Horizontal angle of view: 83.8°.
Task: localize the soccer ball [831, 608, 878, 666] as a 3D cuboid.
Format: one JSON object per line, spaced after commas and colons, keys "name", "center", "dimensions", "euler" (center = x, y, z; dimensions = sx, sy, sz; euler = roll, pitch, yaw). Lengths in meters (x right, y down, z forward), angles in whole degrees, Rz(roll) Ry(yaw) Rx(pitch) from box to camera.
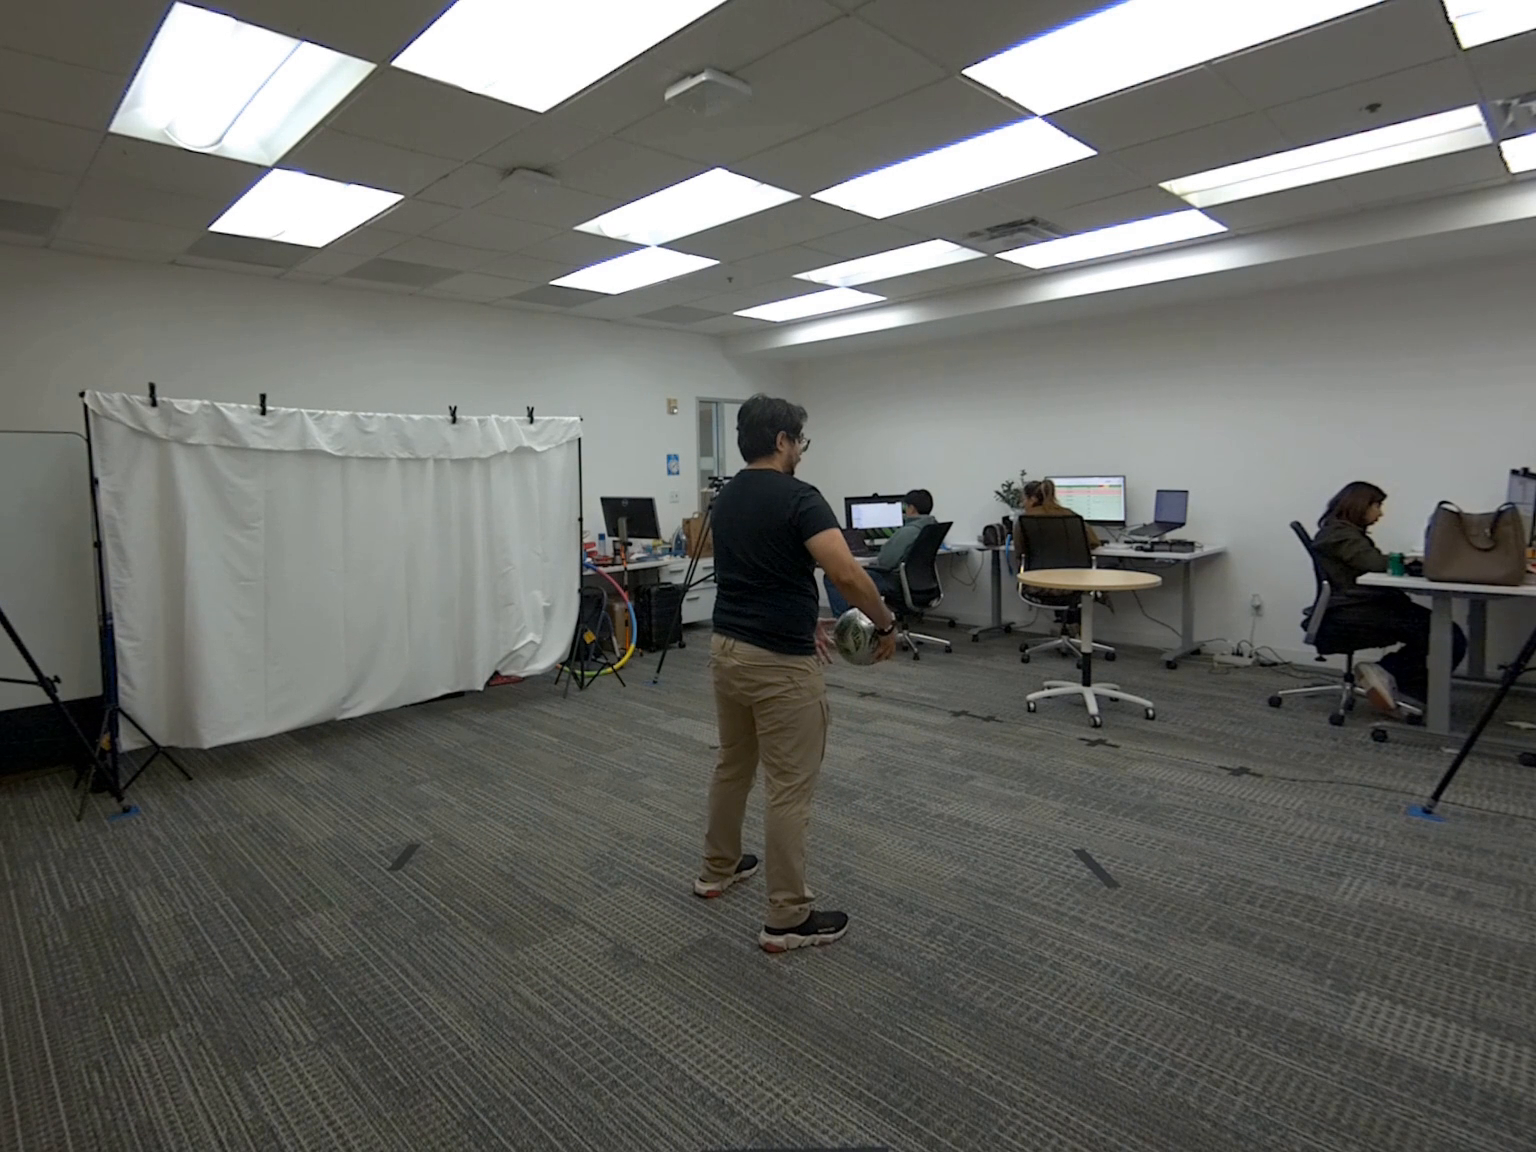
{"name": "soccer ball", "center": [0.301, 0.193, 2.695], "dimensions": [0.187, 0.187, 0.188], "euler": [-1, 5, -2]}
